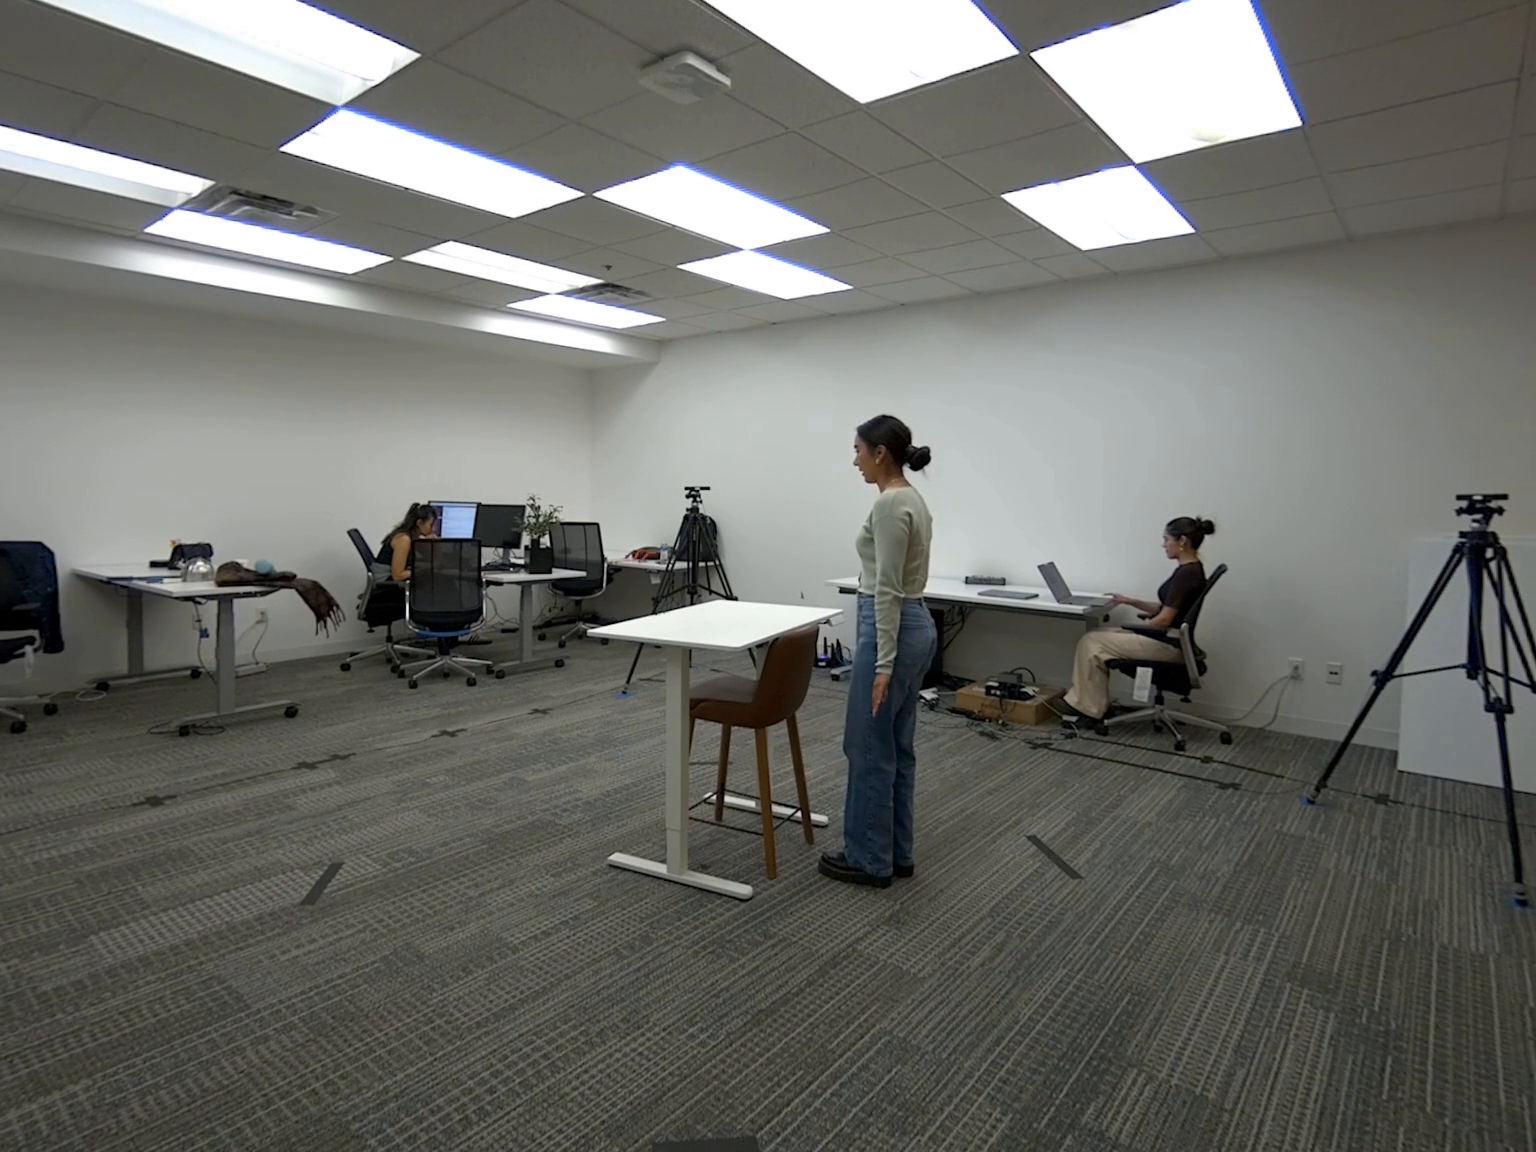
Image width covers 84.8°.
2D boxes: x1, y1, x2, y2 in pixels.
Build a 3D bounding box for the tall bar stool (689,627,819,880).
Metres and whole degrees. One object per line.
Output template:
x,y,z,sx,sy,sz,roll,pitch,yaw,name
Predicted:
-0.092,0.619,3.275,0.481,0.887,0.445,5,4,27,tall bar stool
